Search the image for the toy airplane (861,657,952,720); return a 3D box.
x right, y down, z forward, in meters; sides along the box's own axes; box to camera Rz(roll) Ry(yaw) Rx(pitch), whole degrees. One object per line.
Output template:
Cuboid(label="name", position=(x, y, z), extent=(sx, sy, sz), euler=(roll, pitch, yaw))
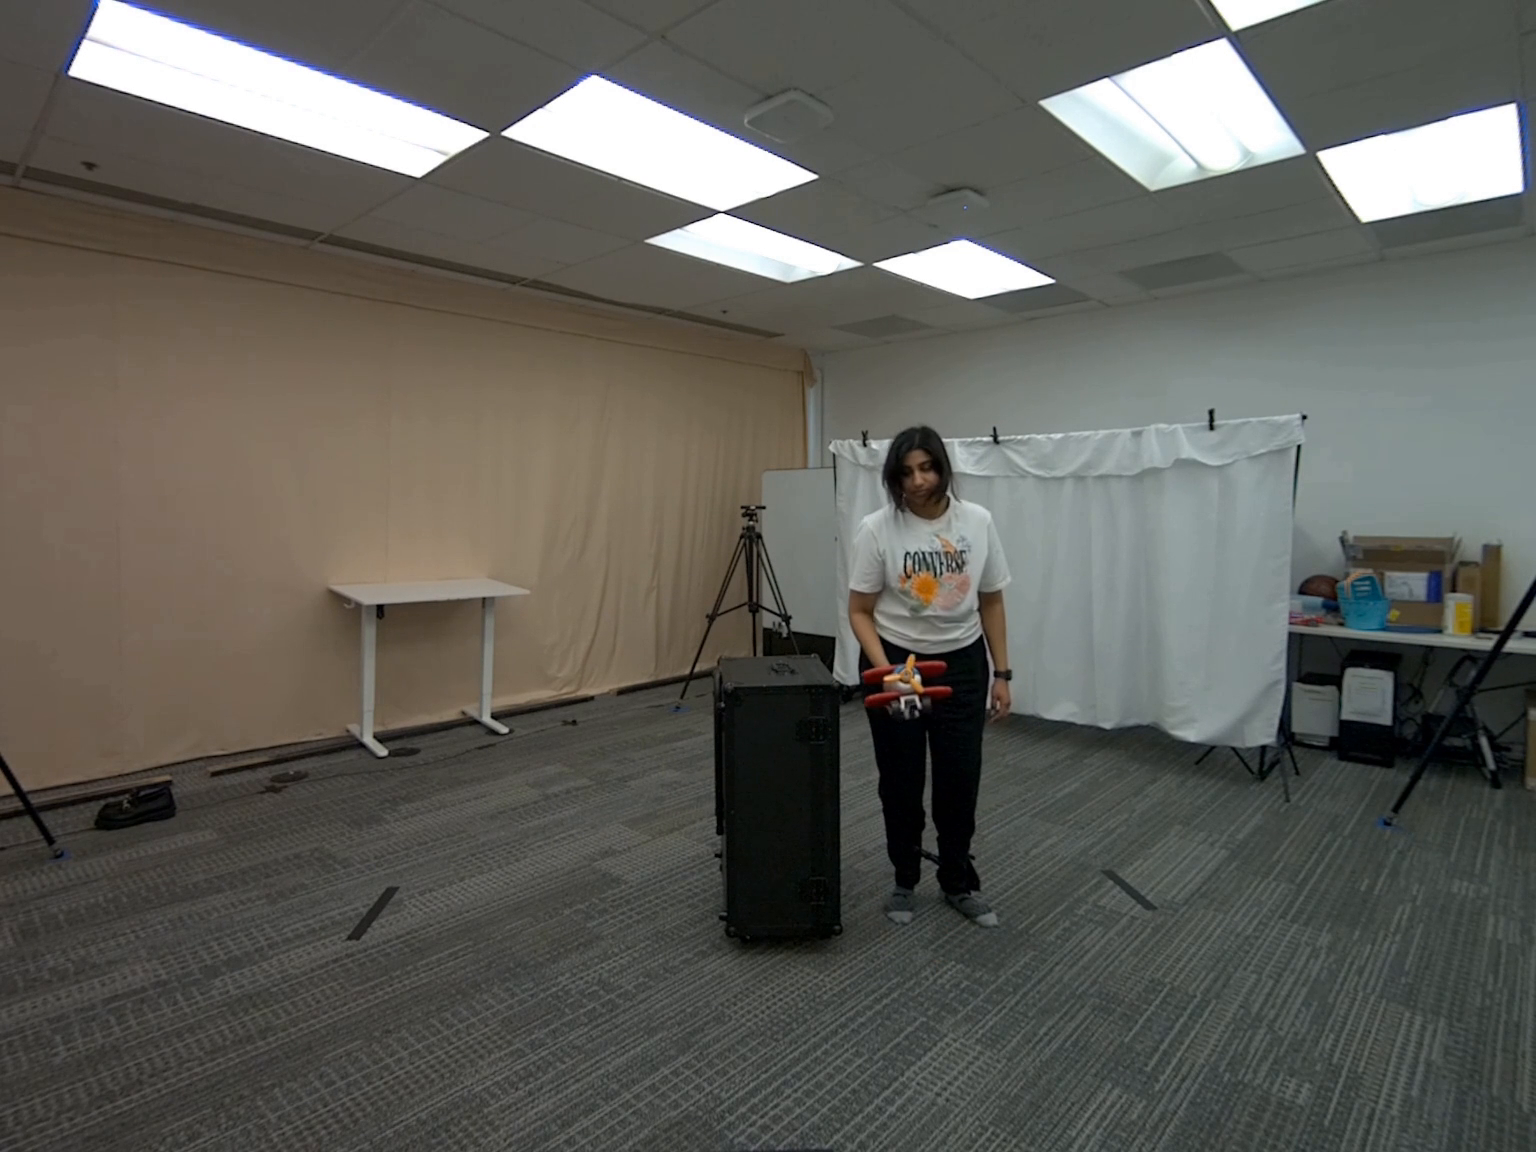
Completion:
Cuboid(label="toy airplane", position=(0.394, 0.357, 2.553), extent=(0.246, 0.158, 0.262), euler=(-2, -15, -21))
